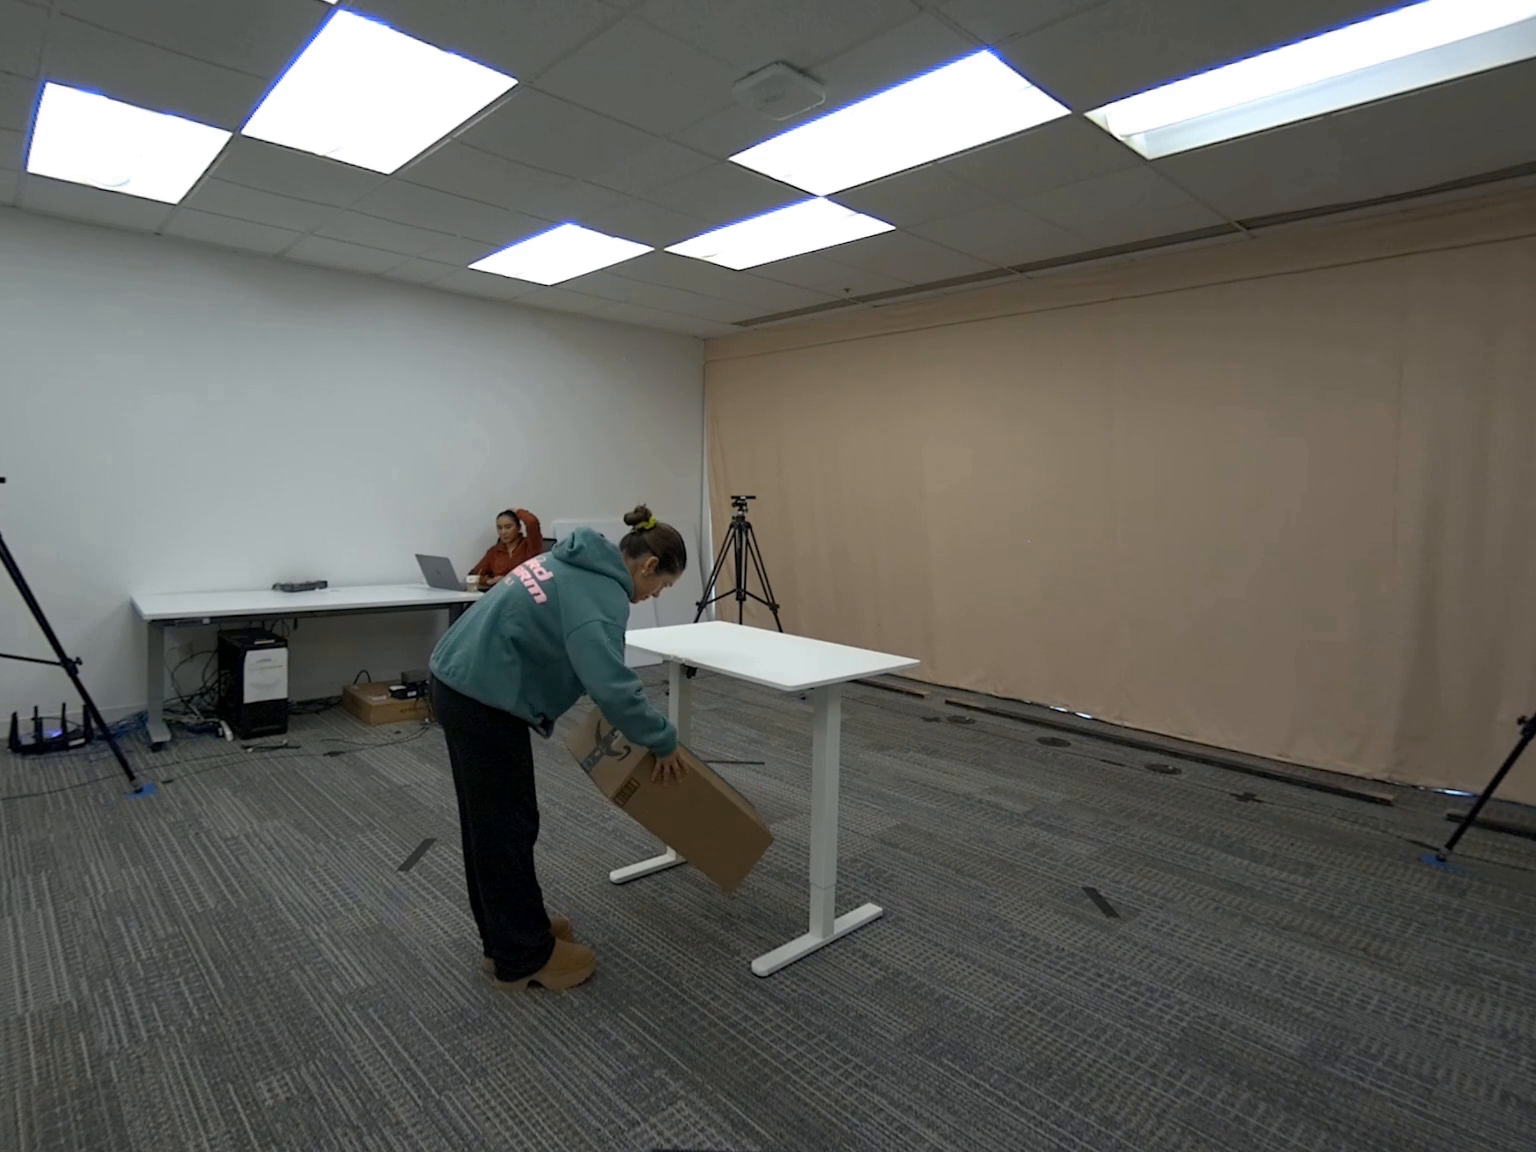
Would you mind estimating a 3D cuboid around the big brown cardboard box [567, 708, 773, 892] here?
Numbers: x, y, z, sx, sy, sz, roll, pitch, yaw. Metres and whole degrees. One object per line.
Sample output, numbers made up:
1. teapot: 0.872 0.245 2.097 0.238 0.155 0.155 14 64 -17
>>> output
1. big brown cardboard box: -0.304 0.672 2.619 0.573 0.233 0.429 47 -13 -29
